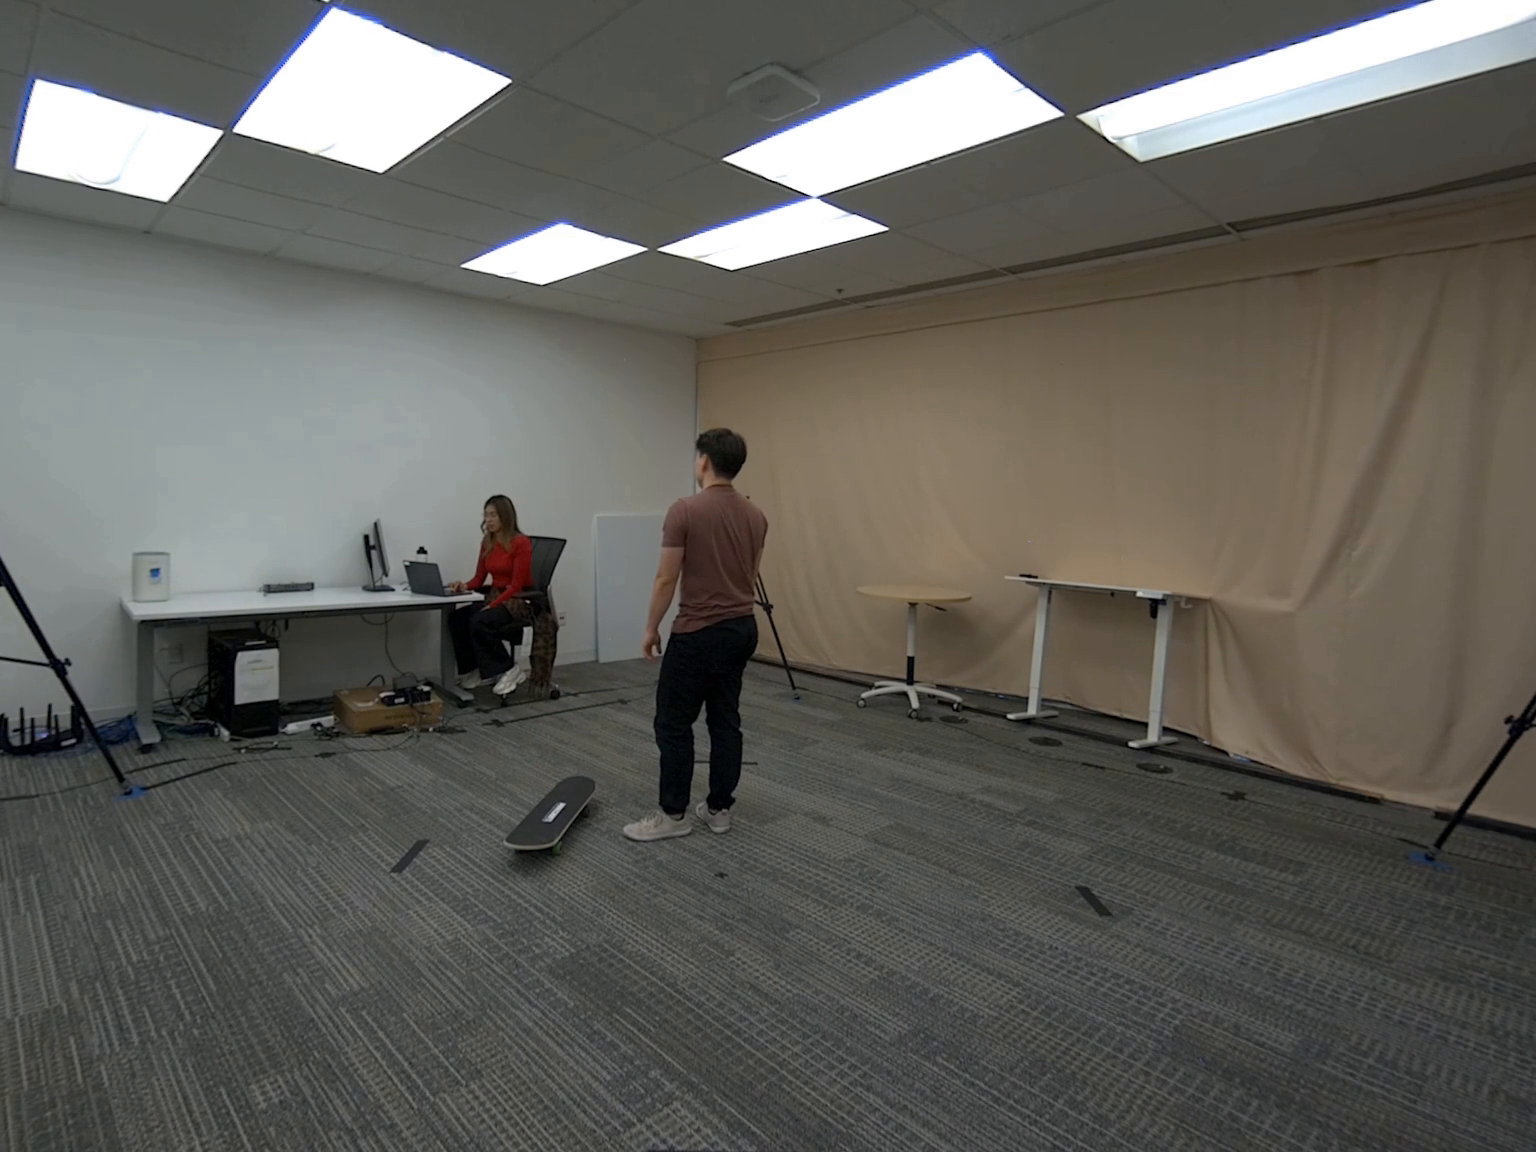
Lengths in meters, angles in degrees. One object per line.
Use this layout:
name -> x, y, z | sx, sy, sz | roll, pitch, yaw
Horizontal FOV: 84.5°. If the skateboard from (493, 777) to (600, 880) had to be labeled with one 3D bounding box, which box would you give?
skateboard -> -0.882, 1.002, 3.446 | 0.194, 0.110, 0.785 | 2, 4, 3
